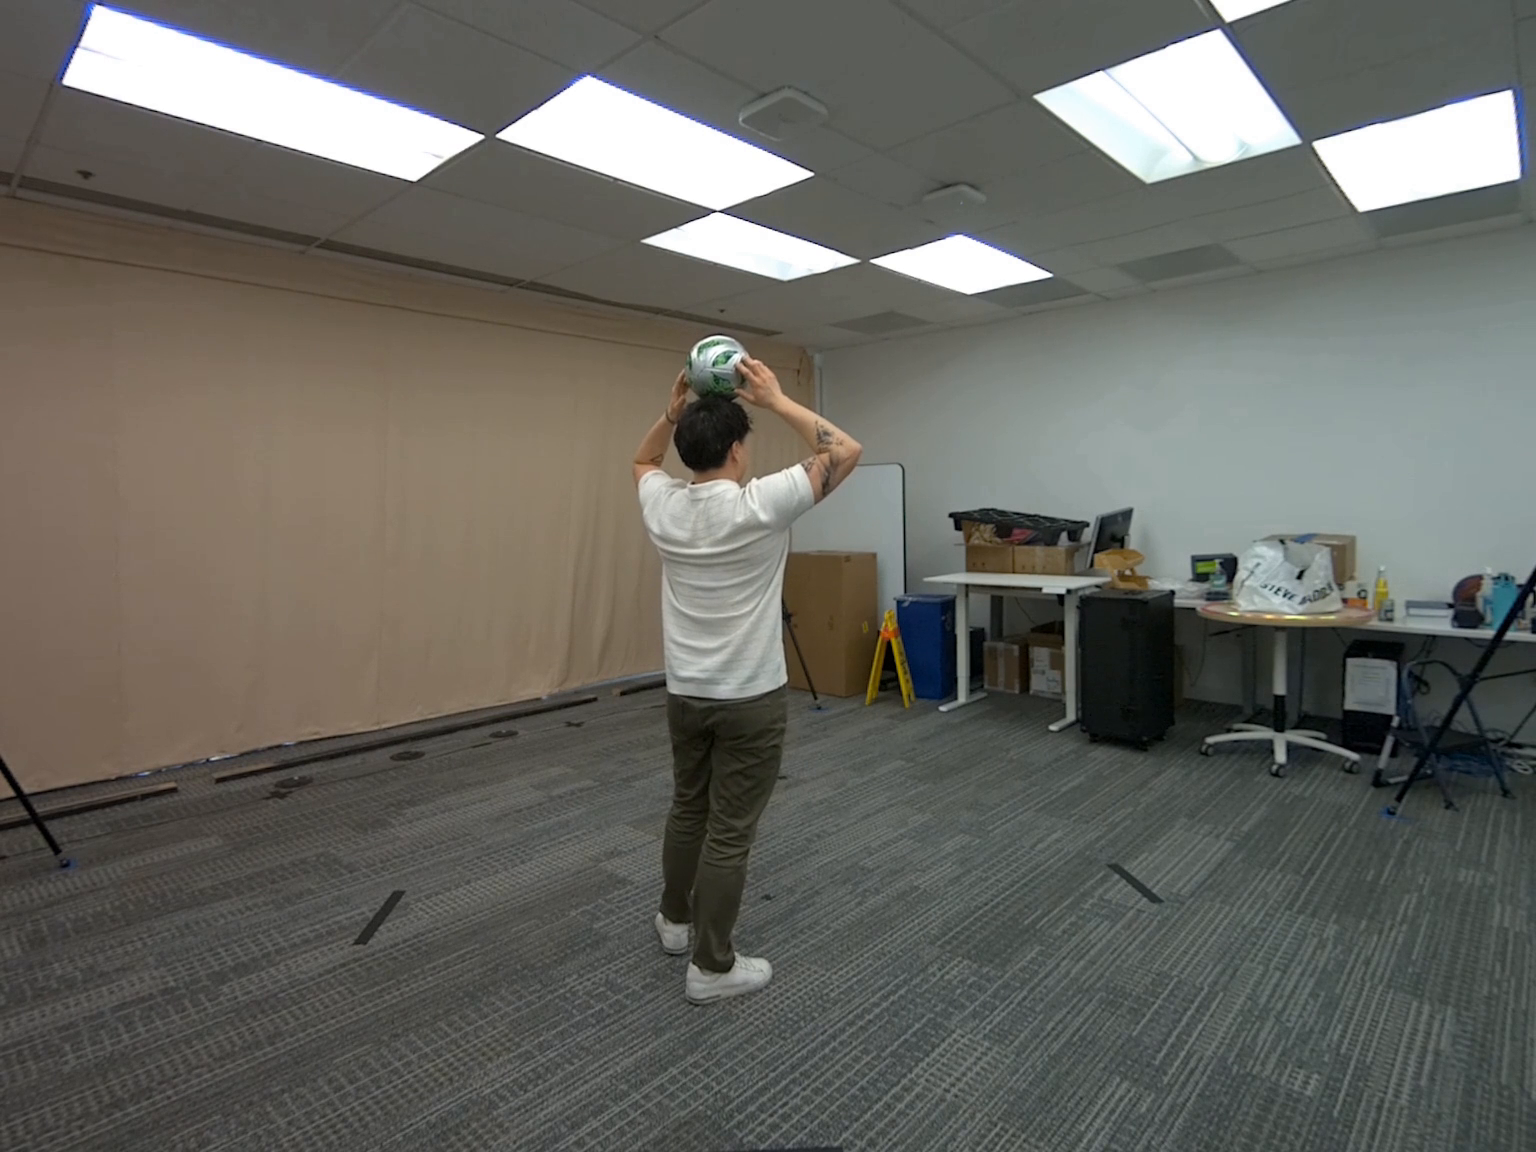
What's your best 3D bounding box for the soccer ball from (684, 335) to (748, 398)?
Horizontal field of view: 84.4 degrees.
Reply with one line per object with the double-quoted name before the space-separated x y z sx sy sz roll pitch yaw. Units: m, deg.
"soccer ball" -0.137 -0.577 2.357 0.187 0.187 0.188 -1 4 -2
